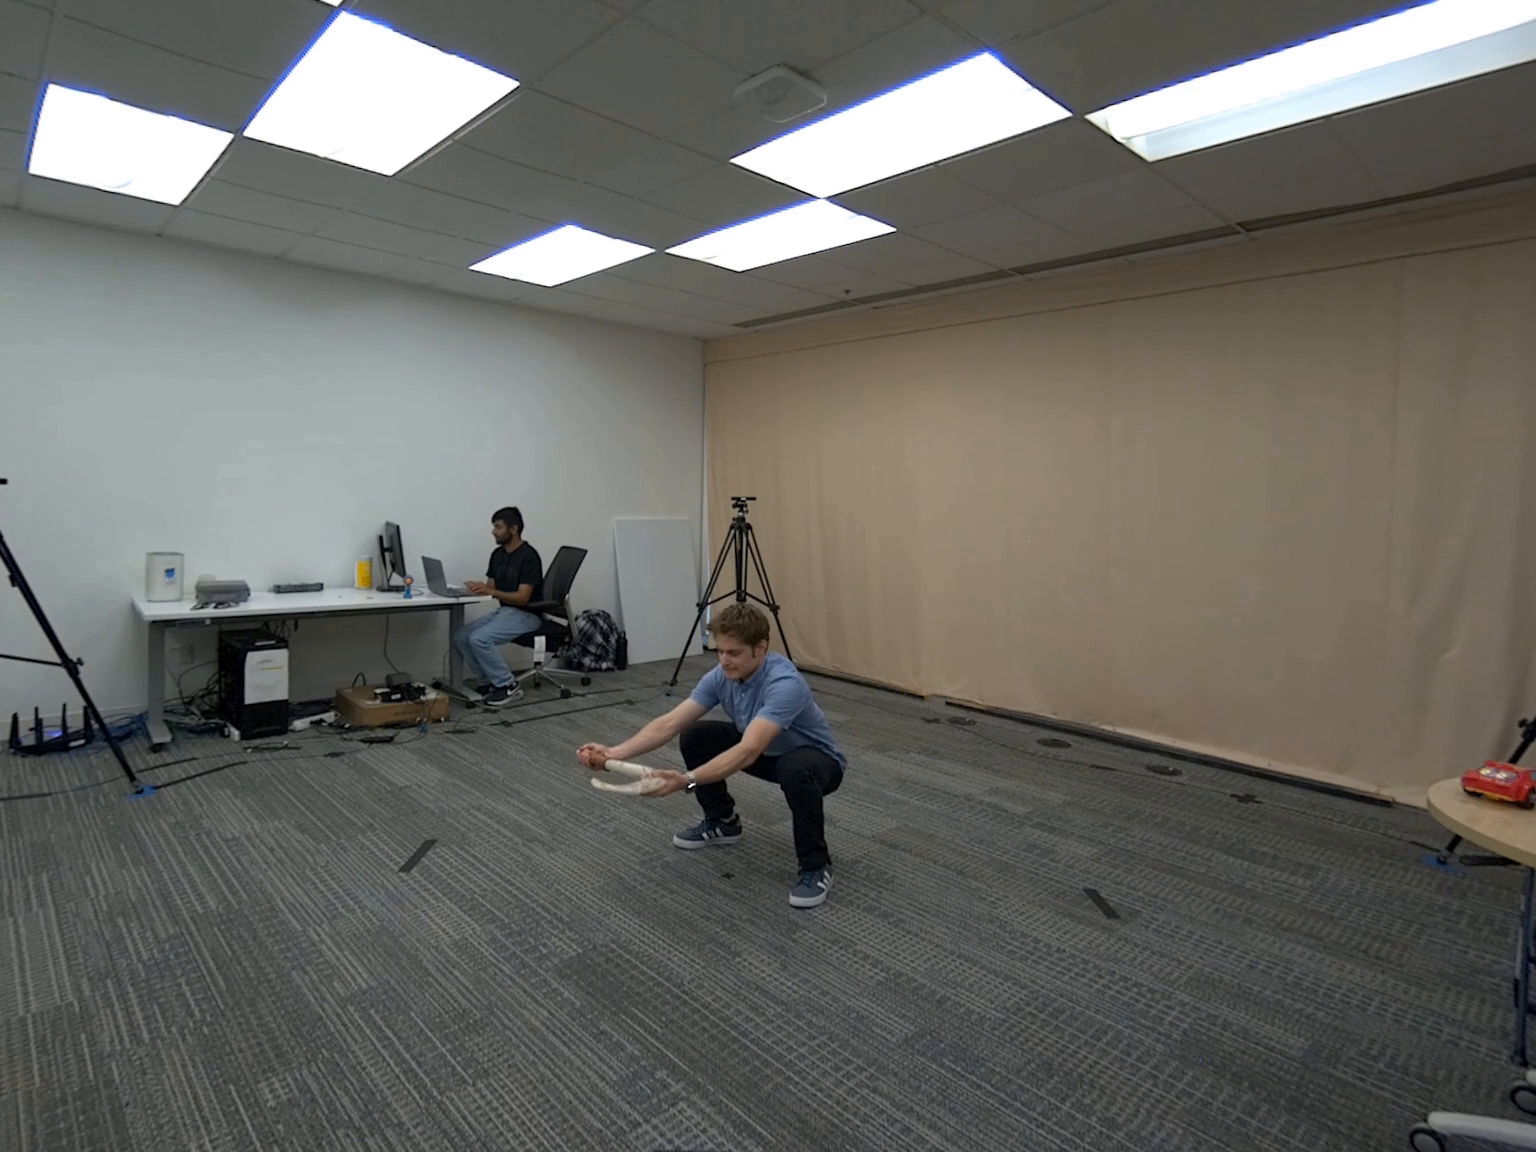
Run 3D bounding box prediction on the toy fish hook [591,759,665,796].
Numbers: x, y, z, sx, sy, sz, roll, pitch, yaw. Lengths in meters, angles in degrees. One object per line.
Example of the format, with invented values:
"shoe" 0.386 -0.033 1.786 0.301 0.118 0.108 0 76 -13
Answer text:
"toy fish hook" -0.522 0.635 2.766 0.219 0.048 0.519 1 2 -43
